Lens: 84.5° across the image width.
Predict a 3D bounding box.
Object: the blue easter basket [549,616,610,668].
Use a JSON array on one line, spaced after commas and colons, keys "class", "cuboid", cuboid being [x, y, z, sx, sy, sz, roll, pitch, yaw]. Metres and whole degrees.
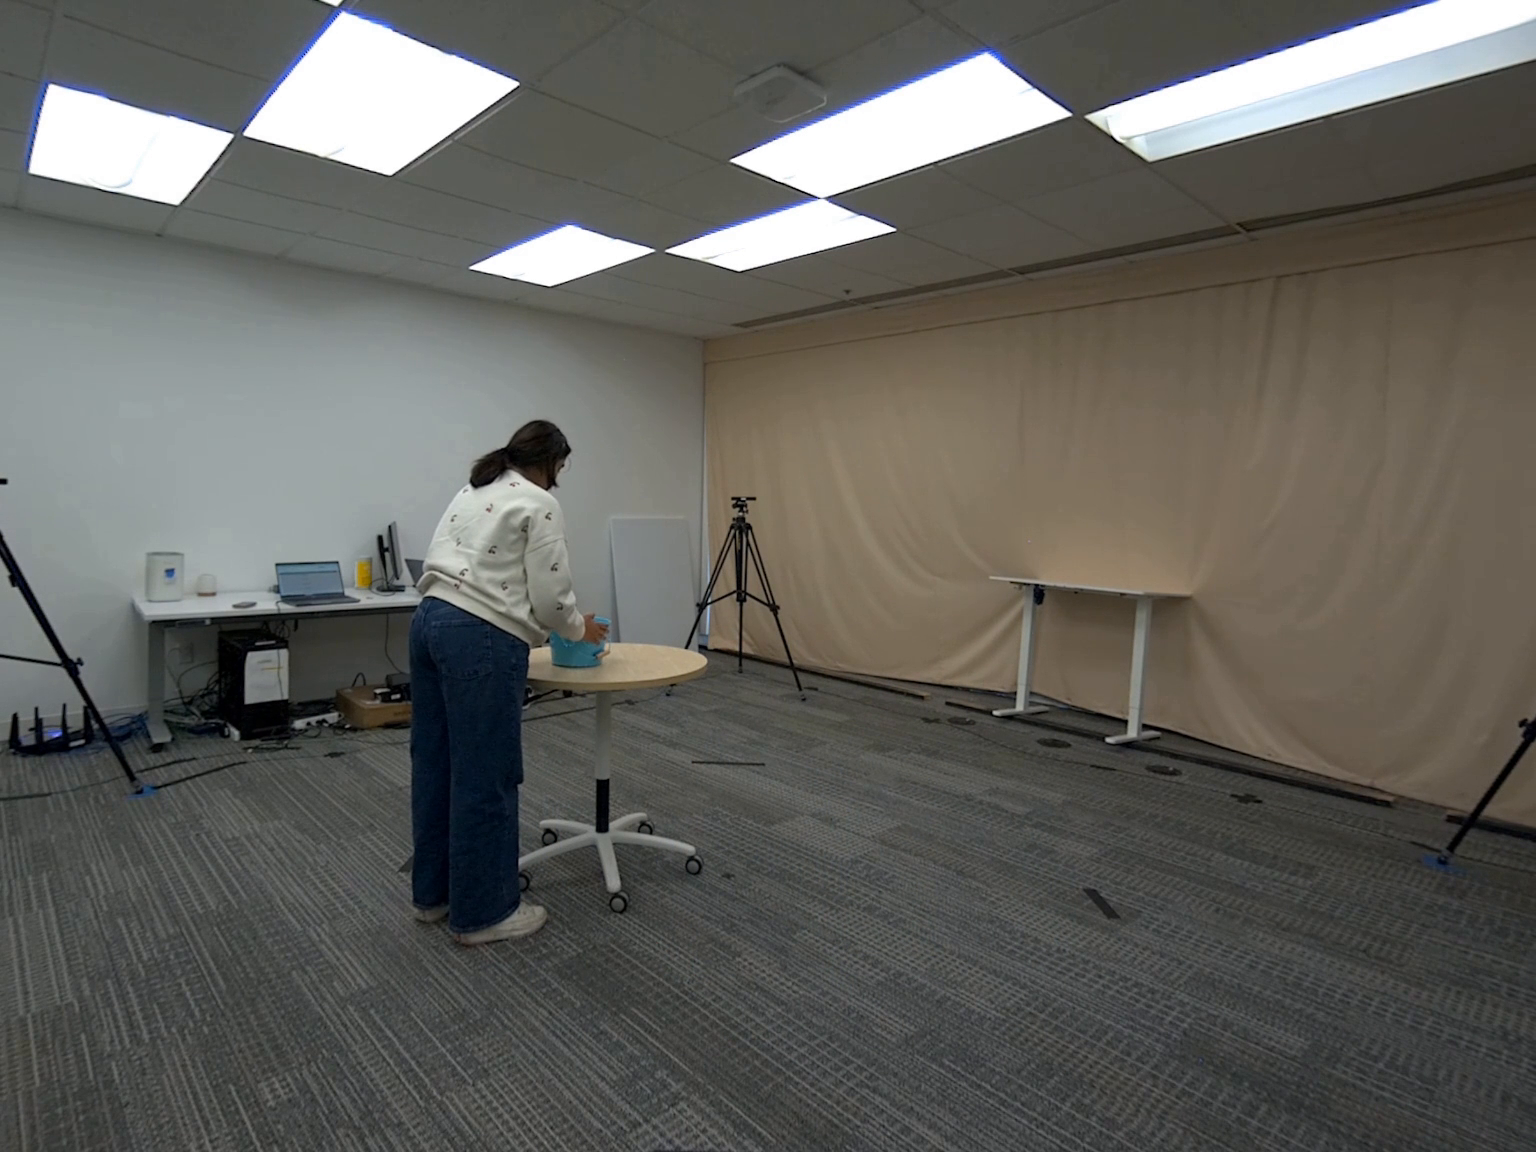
[{"class": "blue easter basket", "cuboid": [-0.700, 0.244, 3.045, 0.243, 0.155, 0.244, 0, 3, -1]}]
